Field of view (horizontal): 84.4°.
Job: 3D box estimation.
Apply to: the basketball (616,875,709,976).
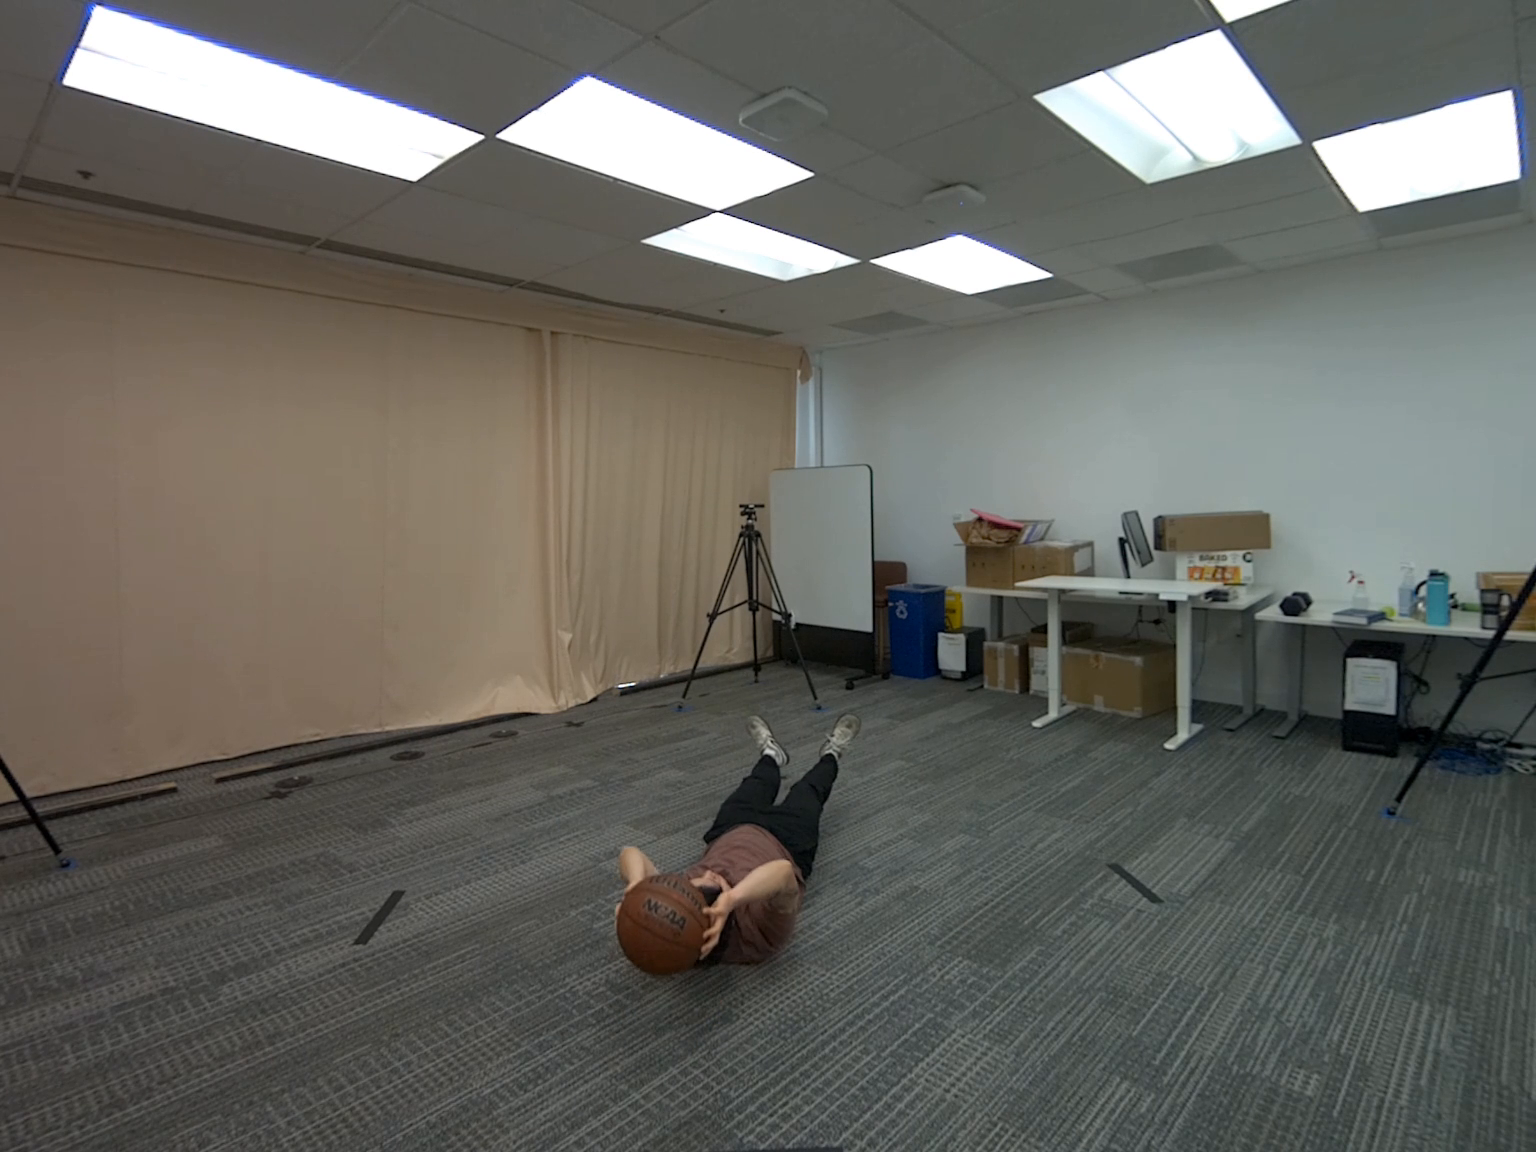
[{"bbox_3d":[-0.255,0.877,2.124,0.235,0.235,0.237,3,5,-2],"label":"basketball"}]
